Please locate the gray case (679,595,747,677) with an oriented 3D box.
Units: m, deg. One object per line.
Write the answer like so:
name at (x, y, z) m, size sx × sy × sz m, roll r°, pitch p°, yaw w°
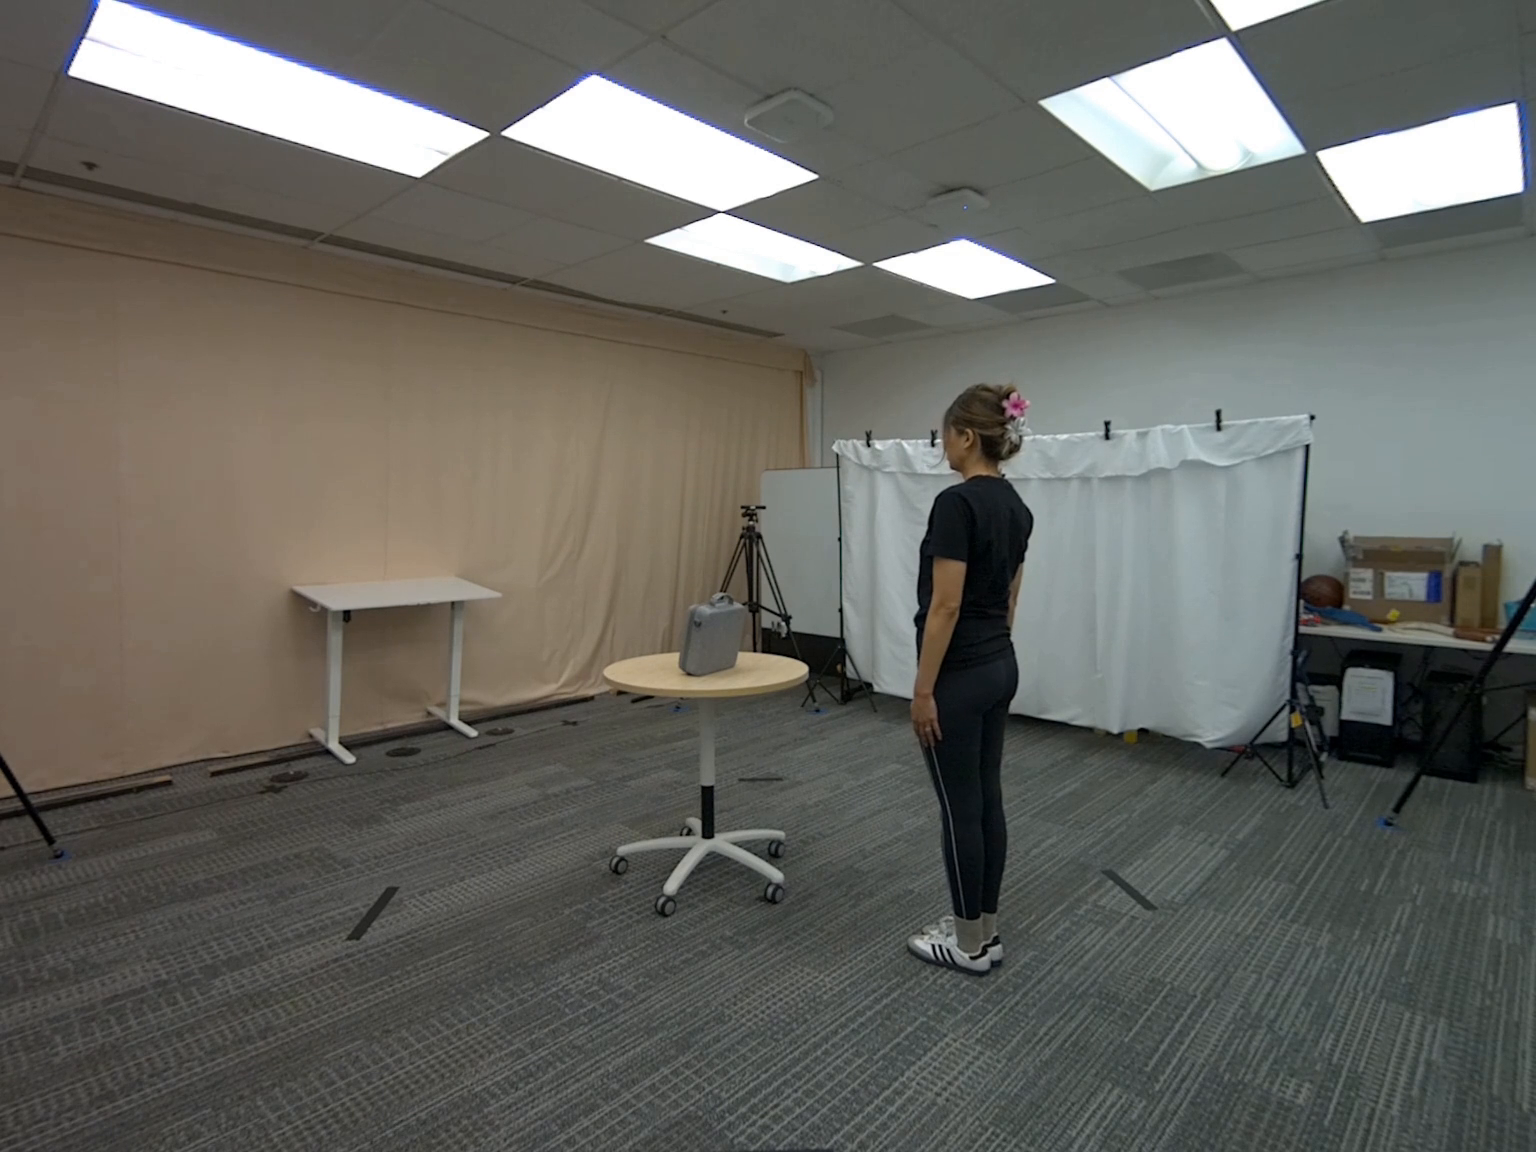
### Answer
gray case at (-0.199, 0.219, 3.088) m, size 0.108 × 0.259 × 0.250 m, roll 16°, pitch 13°, yaw 31°
